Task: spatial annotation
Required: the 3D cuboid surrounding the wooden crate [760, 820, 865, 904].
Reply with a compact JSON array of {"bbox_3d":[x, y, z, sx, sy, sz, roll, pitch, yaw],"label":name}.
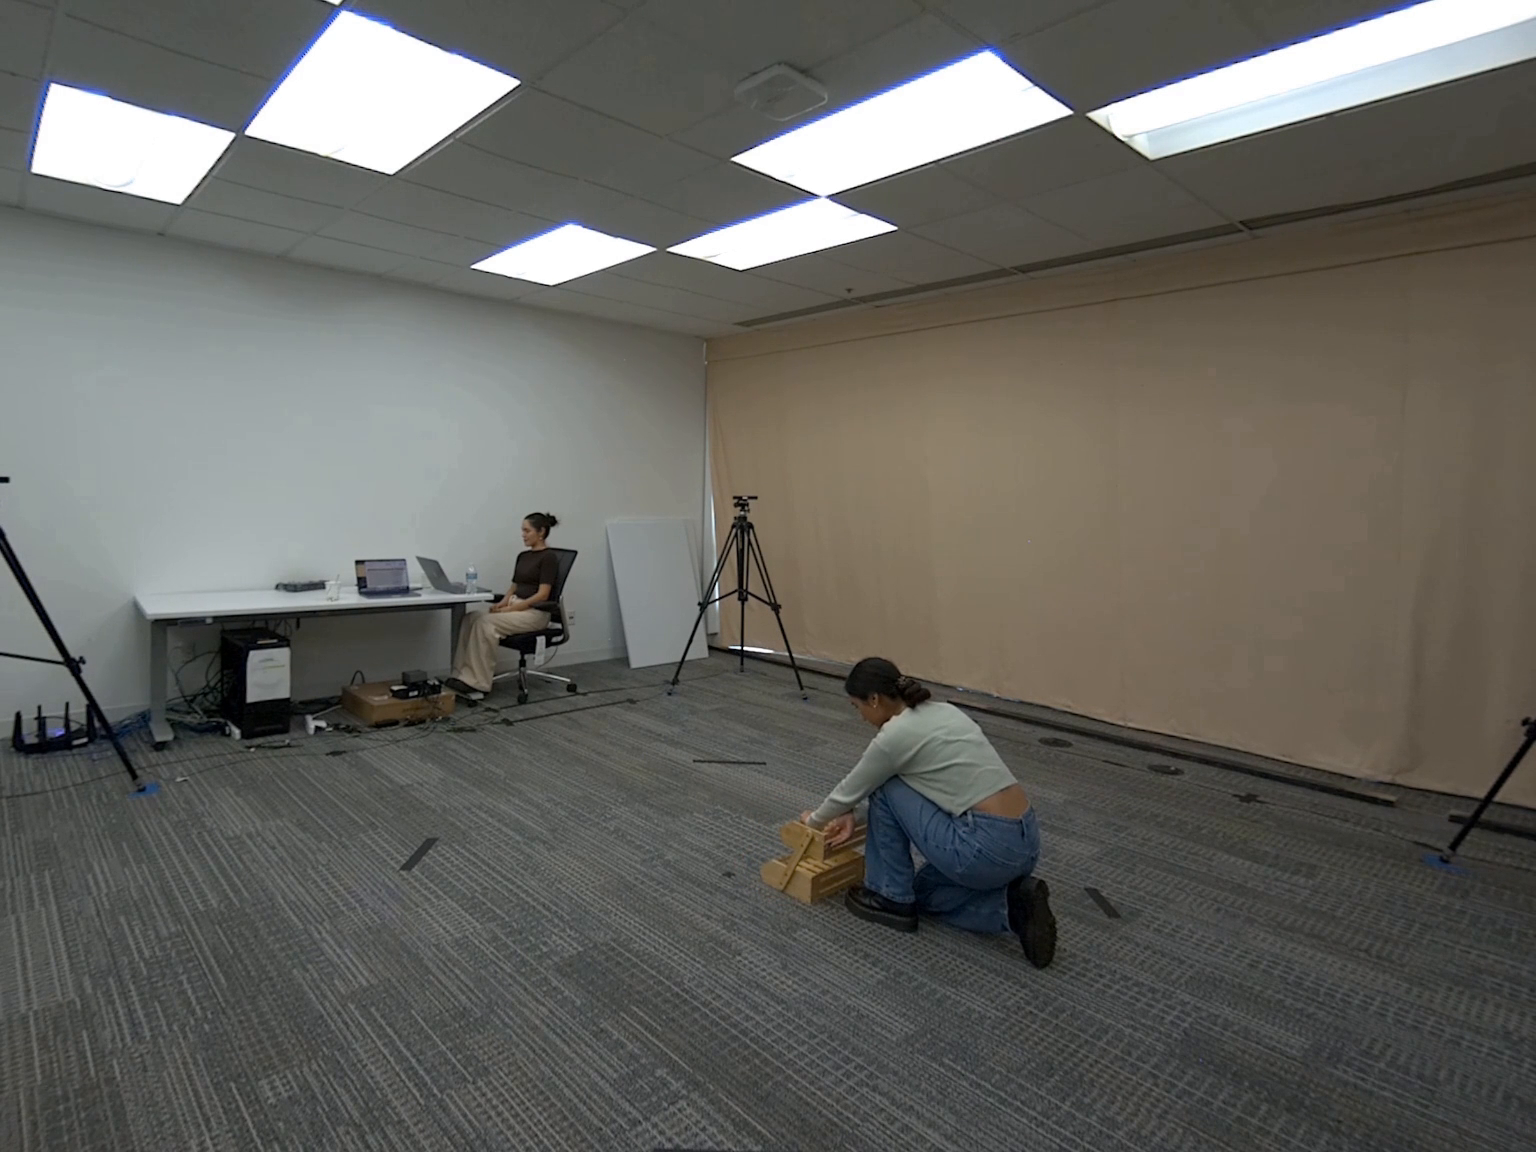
[{"bbox_3d":[0.173,0.975,3.058,0.317,0.272,0.310,-4,7,-45],"label":"wooden crate"}]
